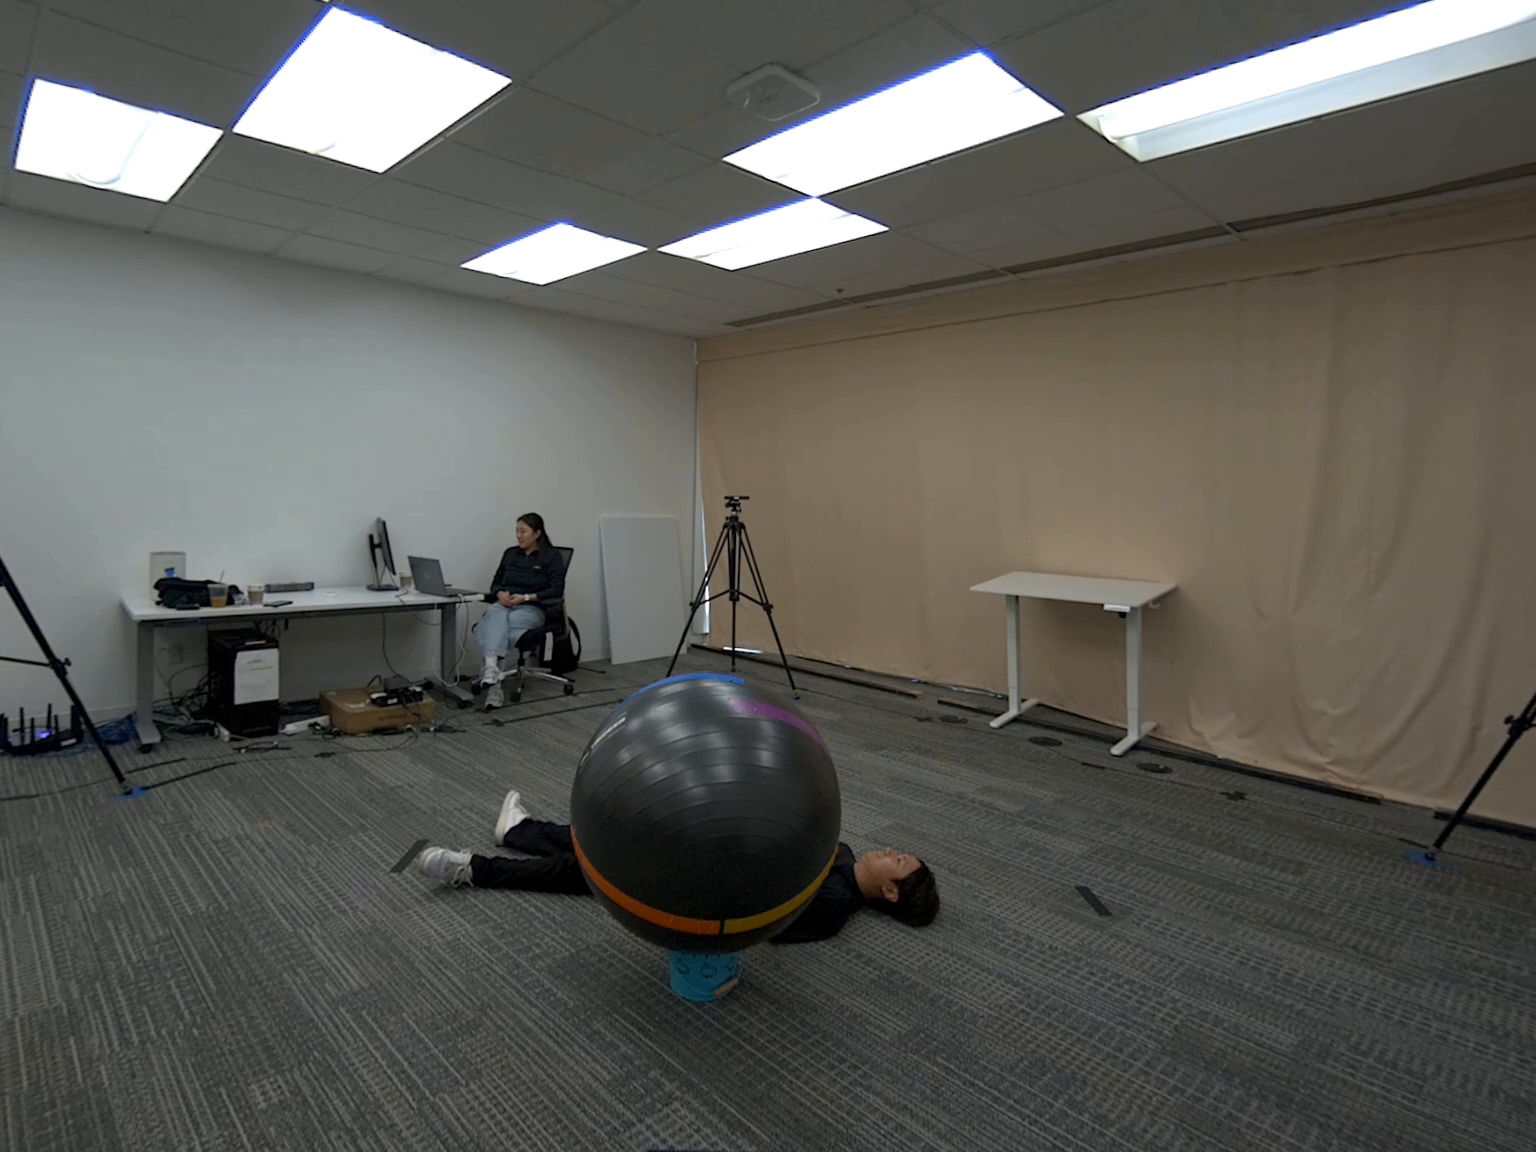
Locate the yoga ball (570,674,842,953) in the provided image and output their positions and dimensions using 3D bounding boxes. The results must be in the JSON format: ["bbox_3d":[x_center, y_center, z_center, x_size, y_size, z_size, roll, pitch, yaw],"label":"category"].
[{"bbox_3d":[-0.177,0.660,2.387,0.757,0.756,0.761,1,4,-1],"label":"yoga ball"}]
